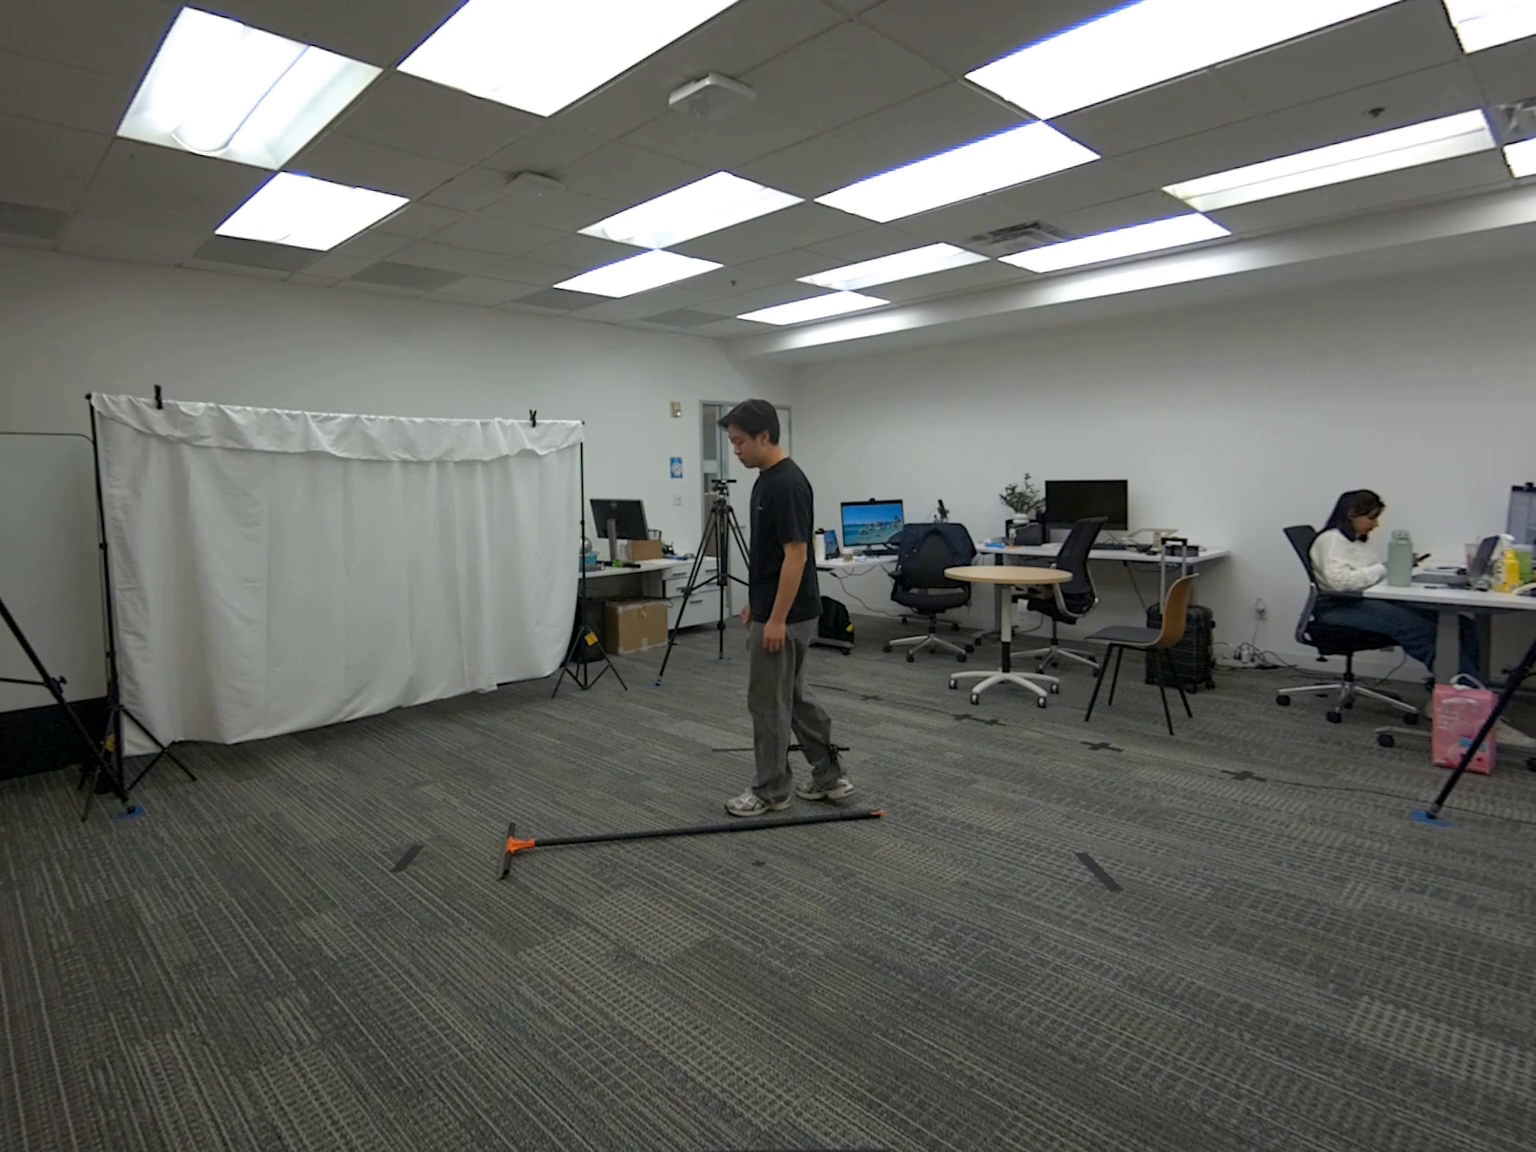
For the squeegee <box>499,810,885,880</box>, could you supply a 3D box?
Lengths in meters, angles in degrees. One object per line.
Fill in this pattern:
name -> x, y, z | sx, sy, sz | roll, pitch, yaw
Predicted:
squeegee -> -0.263, 0.969, 3.382 | 1.520, 0.053, 0.444 | -4, 6, -13
